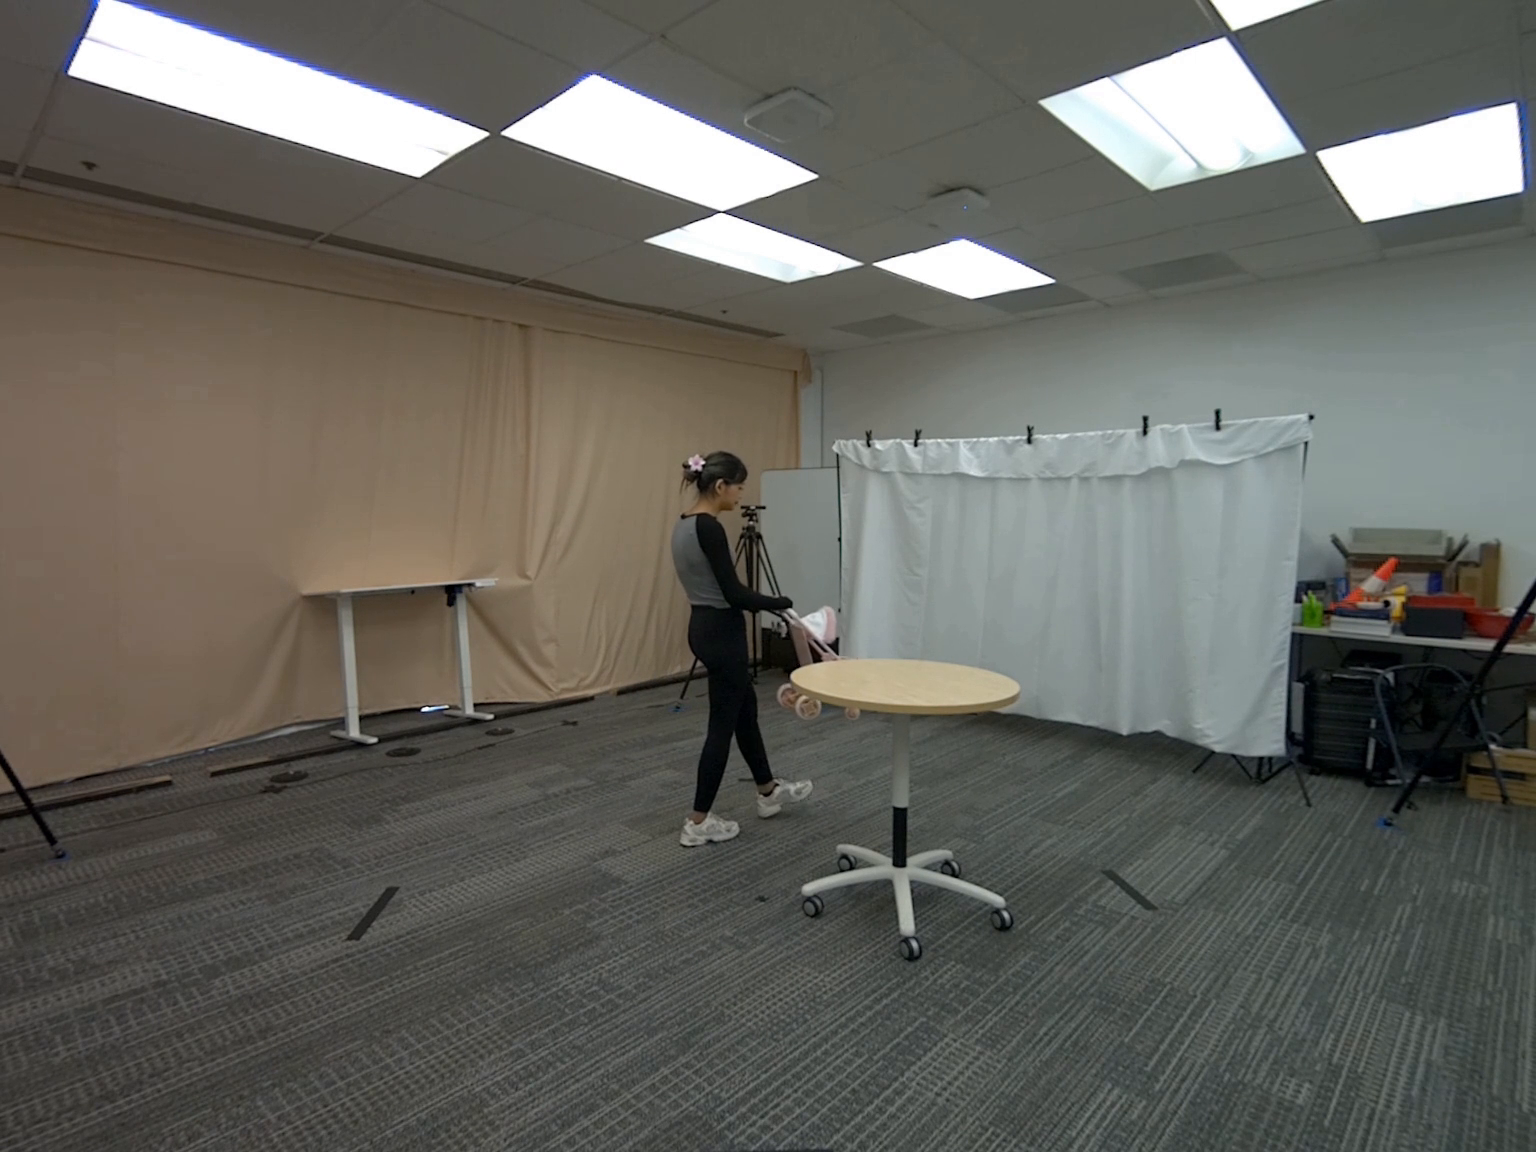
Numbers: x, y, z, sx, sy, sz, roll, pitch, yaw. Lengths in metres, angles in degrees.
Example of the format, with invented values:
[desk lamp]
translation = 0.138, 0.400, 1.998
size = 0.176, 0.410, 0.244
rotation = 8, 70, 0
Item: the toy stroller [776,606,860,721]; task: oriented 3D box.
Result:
[toy stroller]
translation = 0.229, 0.368, 3.570
size = 0.338, 0.534, 0.284
rotation = -4, 1, -10
